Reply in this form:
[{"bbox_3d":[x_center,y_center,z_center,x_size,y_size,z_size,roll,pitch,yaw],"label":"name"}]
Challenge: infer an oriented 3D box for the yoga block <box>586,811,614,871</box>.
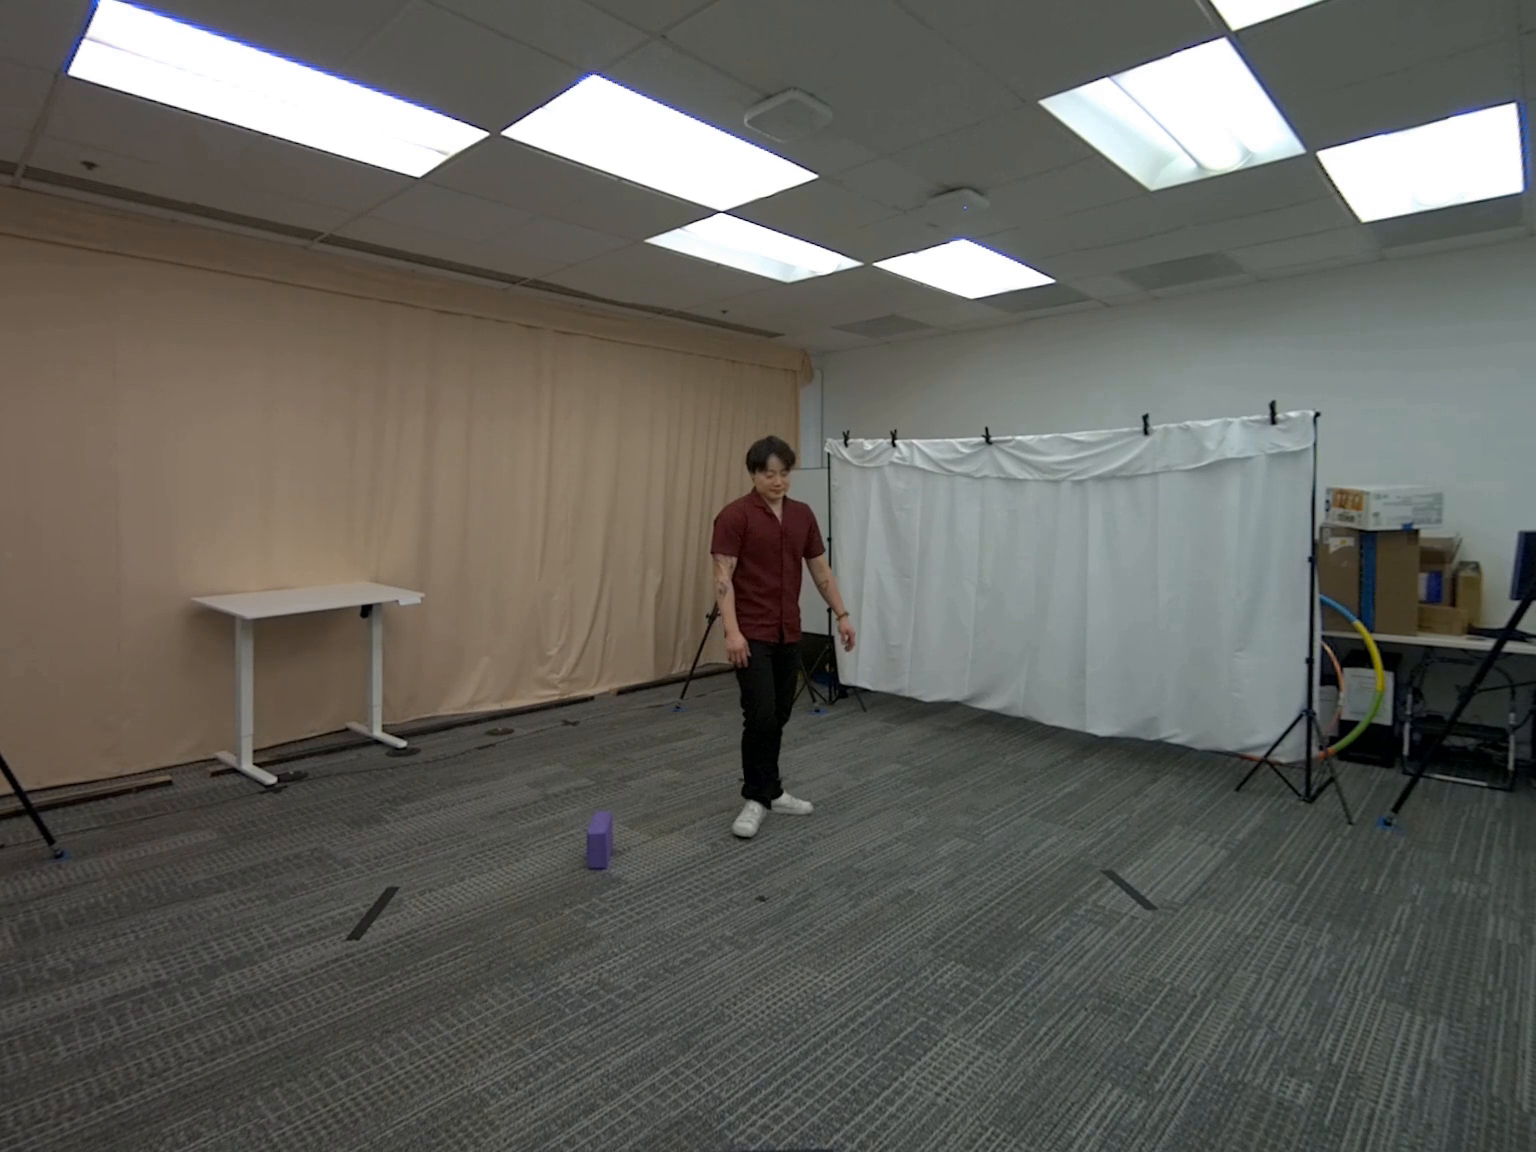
[{"bbox_3d":[-0.668,1.041,3.341,0.076,0.149,0.230,-1,4,-4],"label":"yoga block"}]
